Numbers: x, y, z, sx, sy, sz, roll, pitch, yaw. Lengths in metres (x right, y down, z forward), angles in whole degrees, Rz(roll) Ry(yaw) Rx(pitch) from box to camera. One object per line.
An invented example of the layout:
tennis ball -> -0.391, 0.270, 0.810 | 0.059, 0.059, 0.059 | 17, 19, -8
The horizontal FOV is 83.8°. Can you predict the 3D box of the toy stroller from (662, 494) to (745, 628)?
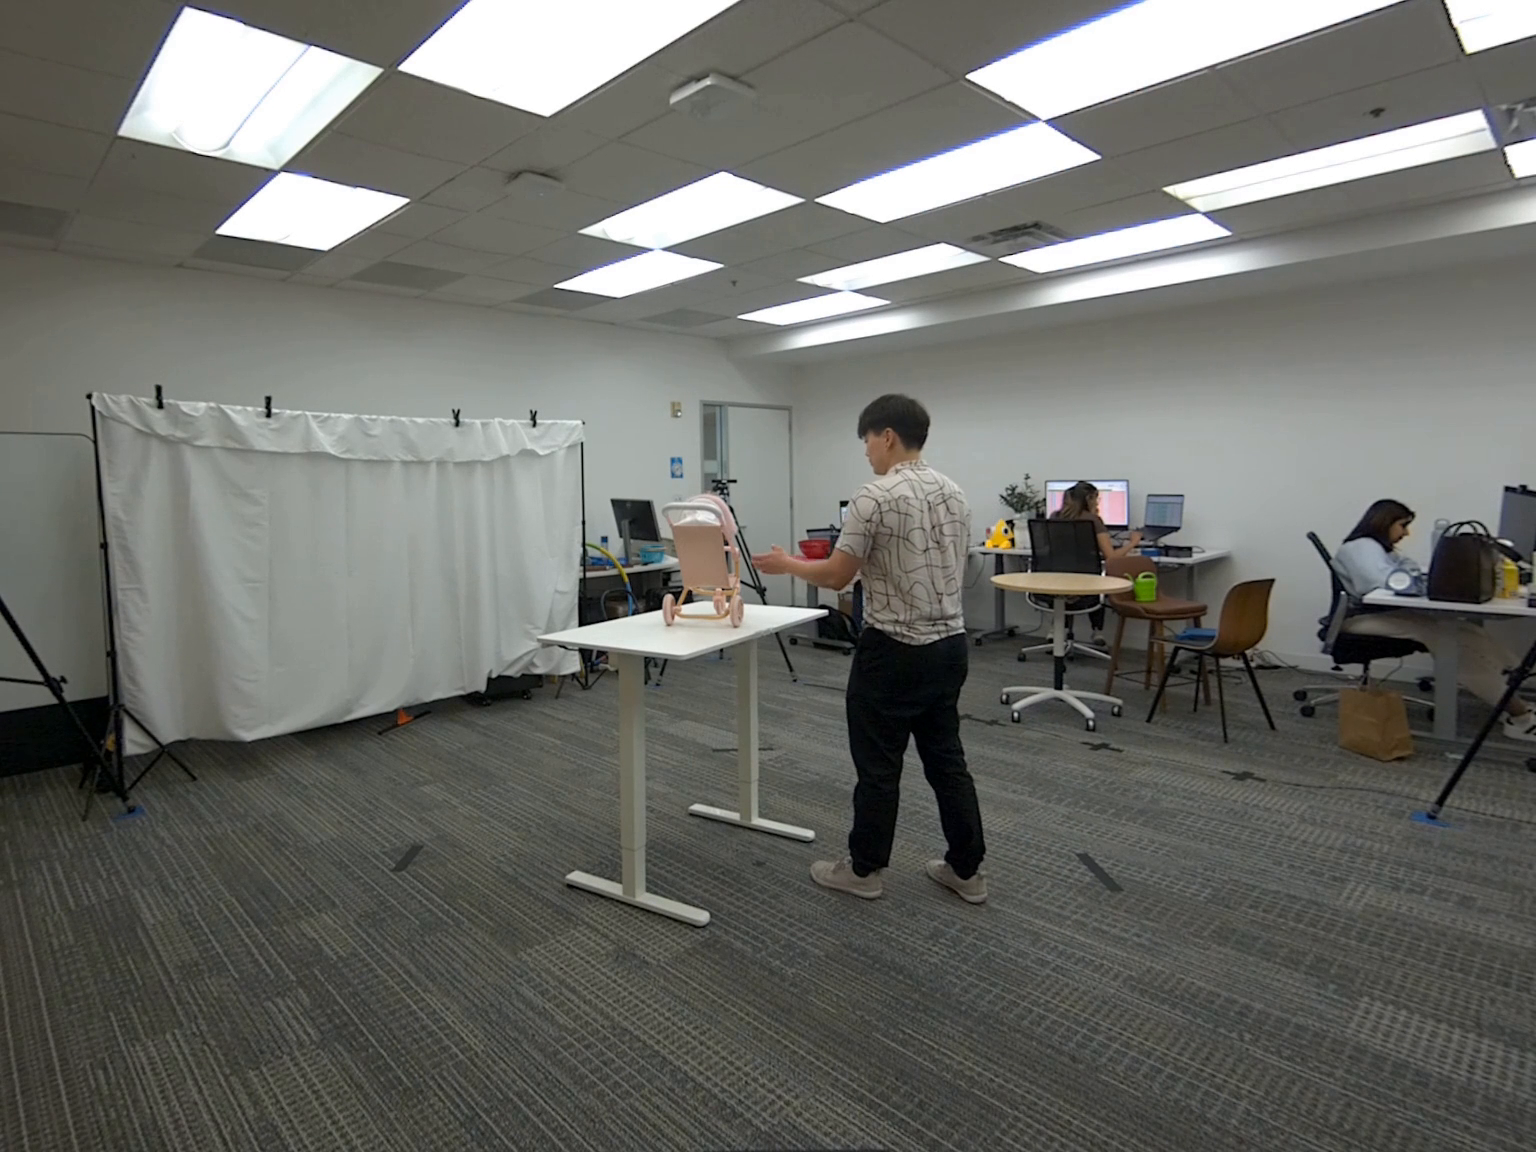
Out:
toy stroller -> -0.216, -0.055, 3.088 | 0.286, 0.526, 0.342 | 1, 19, 16
